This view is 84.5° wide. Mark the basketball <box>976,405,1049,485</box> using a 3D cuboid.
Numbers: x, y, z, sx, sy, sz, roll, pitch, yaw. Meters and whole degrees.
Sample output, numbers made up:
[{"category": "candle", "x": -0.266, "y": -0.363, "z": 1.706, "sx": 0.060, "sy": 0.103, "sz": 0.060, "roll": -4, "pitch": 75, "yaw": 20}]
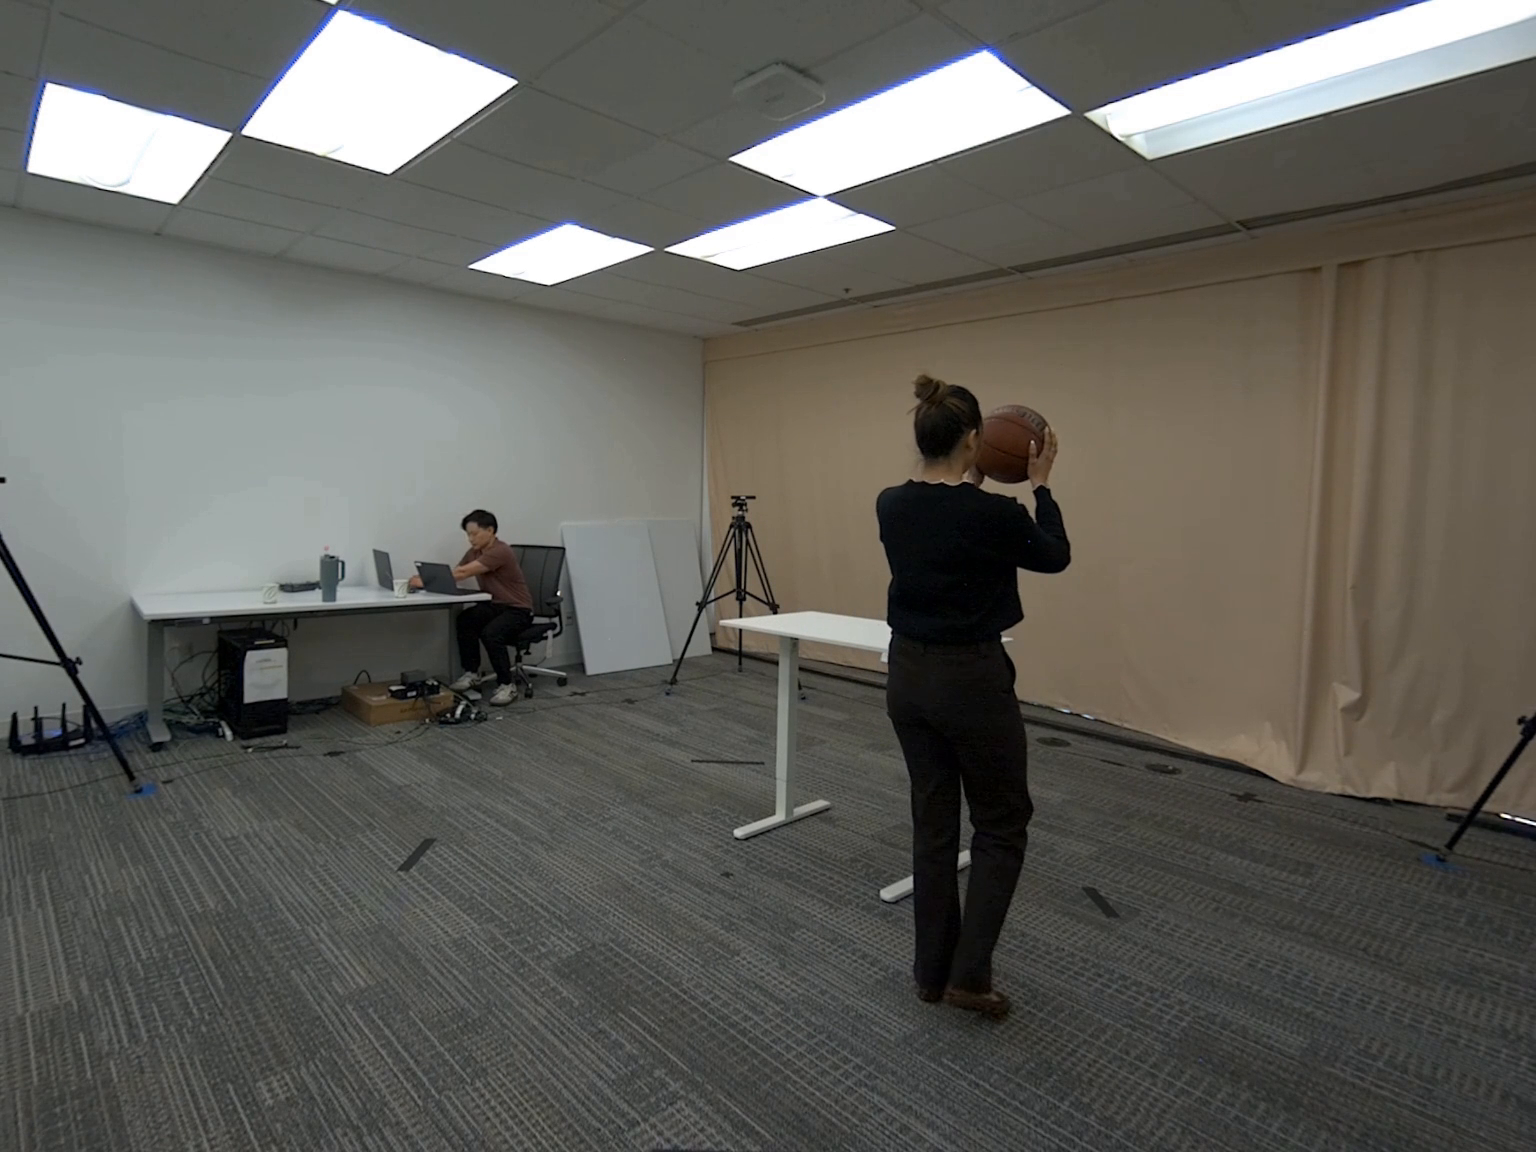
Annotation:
[{"category": "basketball", "x": 0.729, "y": -0.397, "z": 2.543, "sx": 0.236, "sy": 0.235, "sz": 0.237, "roll": 1, "pitch": 4, "yaw": -1}]
